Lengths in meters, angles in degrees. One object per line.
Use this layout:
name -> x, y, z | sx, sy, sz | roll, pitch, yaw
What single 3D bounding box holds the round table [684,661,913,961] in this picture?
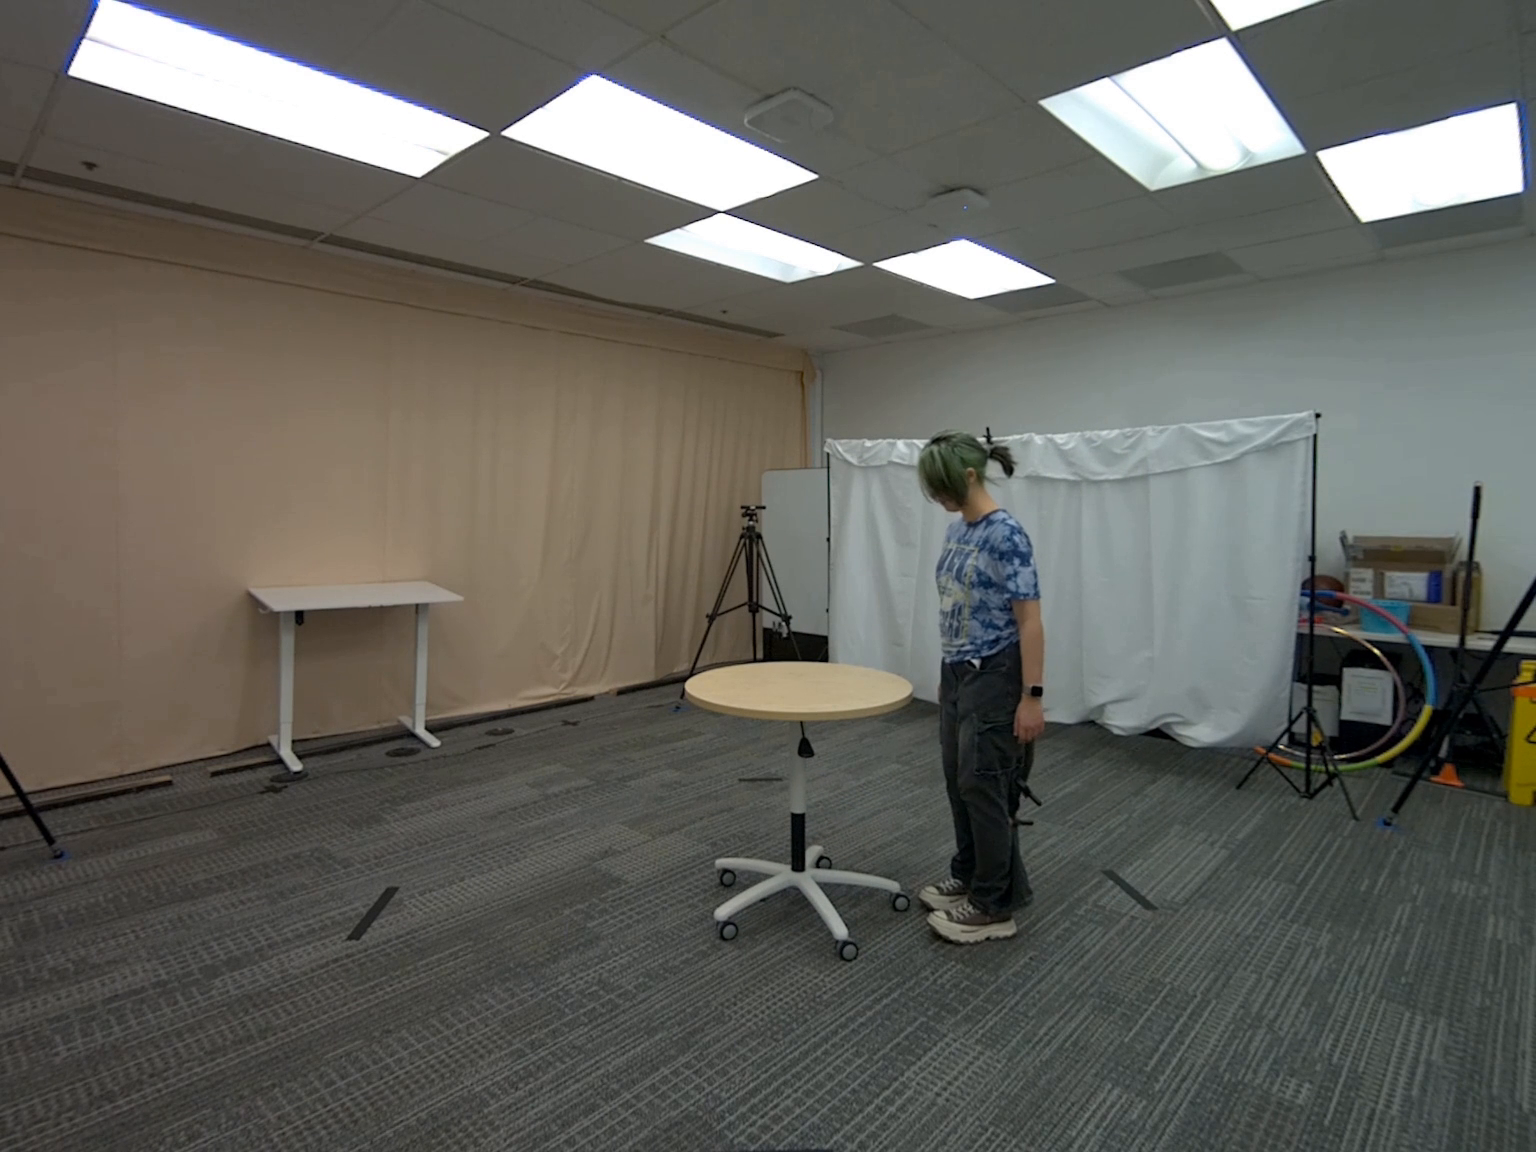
round table -> 0.100, 0.763, 2.886 | 0.763, 0.792, 0.767 | 0, 4, -2
